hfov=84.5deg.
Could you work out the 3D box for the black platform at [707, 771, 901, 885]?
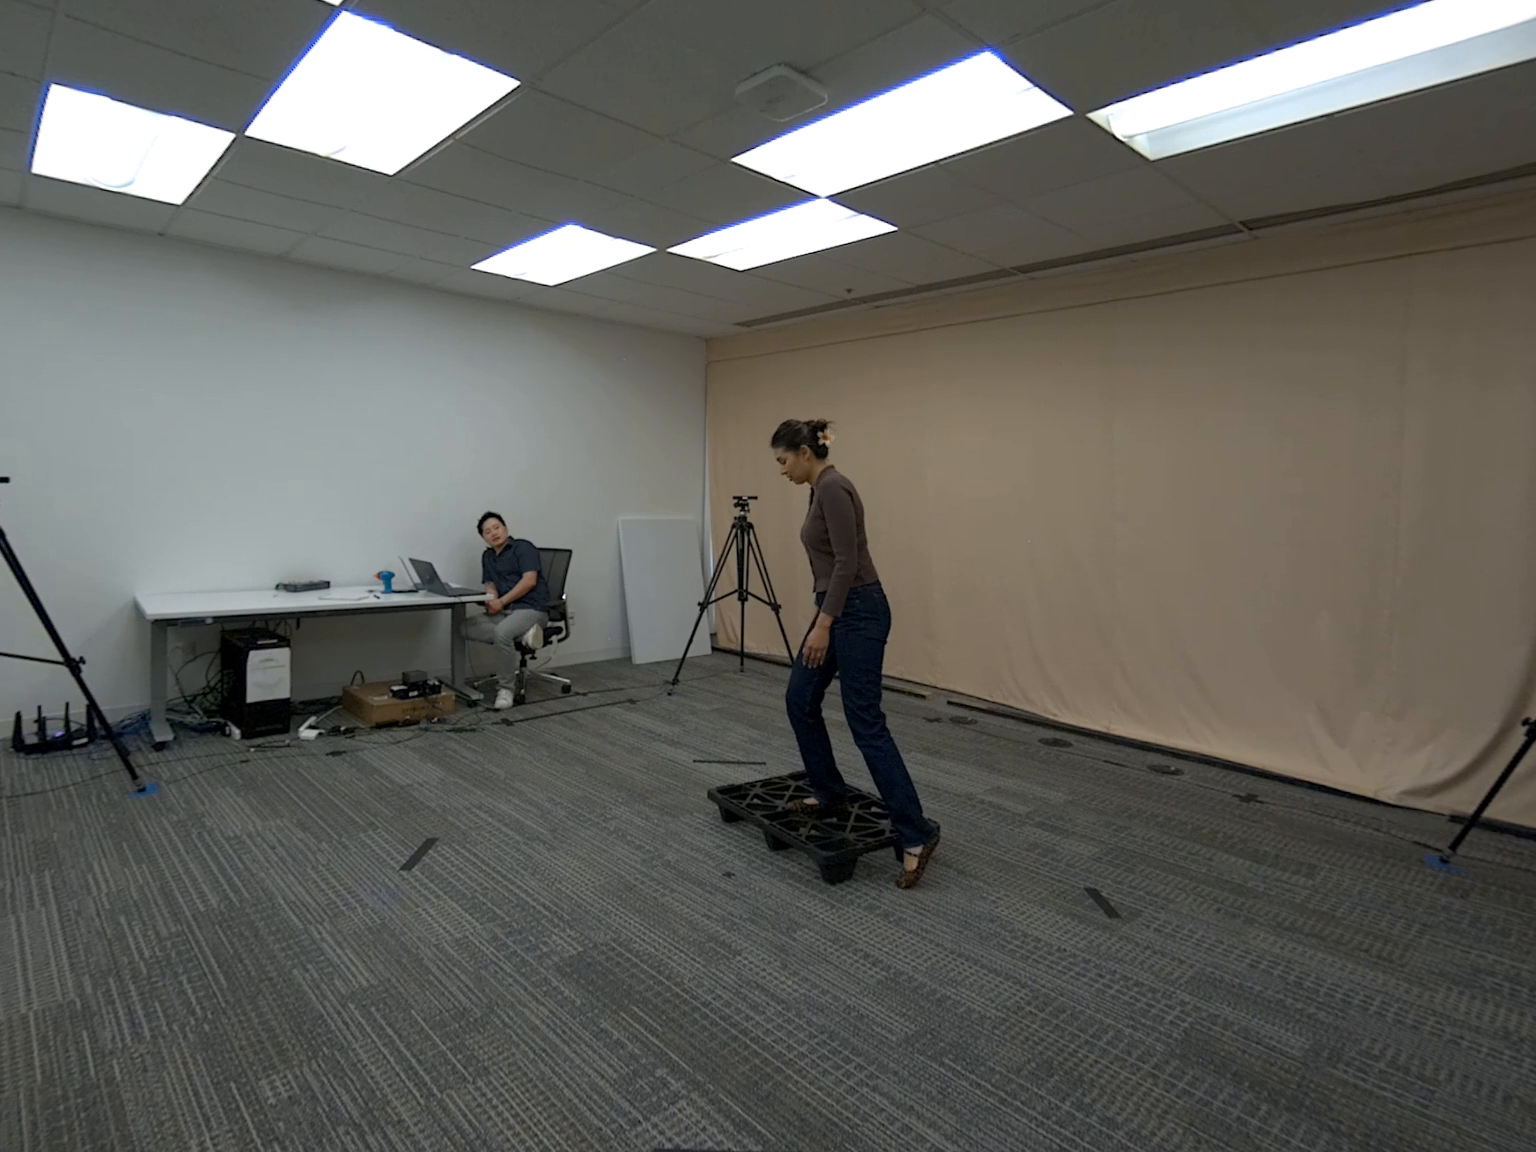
[{"bbox_3d":[0.198,1.013,3.461,0.592,0.143,0.825,-3,6,-35],"label":"black platform"}]
